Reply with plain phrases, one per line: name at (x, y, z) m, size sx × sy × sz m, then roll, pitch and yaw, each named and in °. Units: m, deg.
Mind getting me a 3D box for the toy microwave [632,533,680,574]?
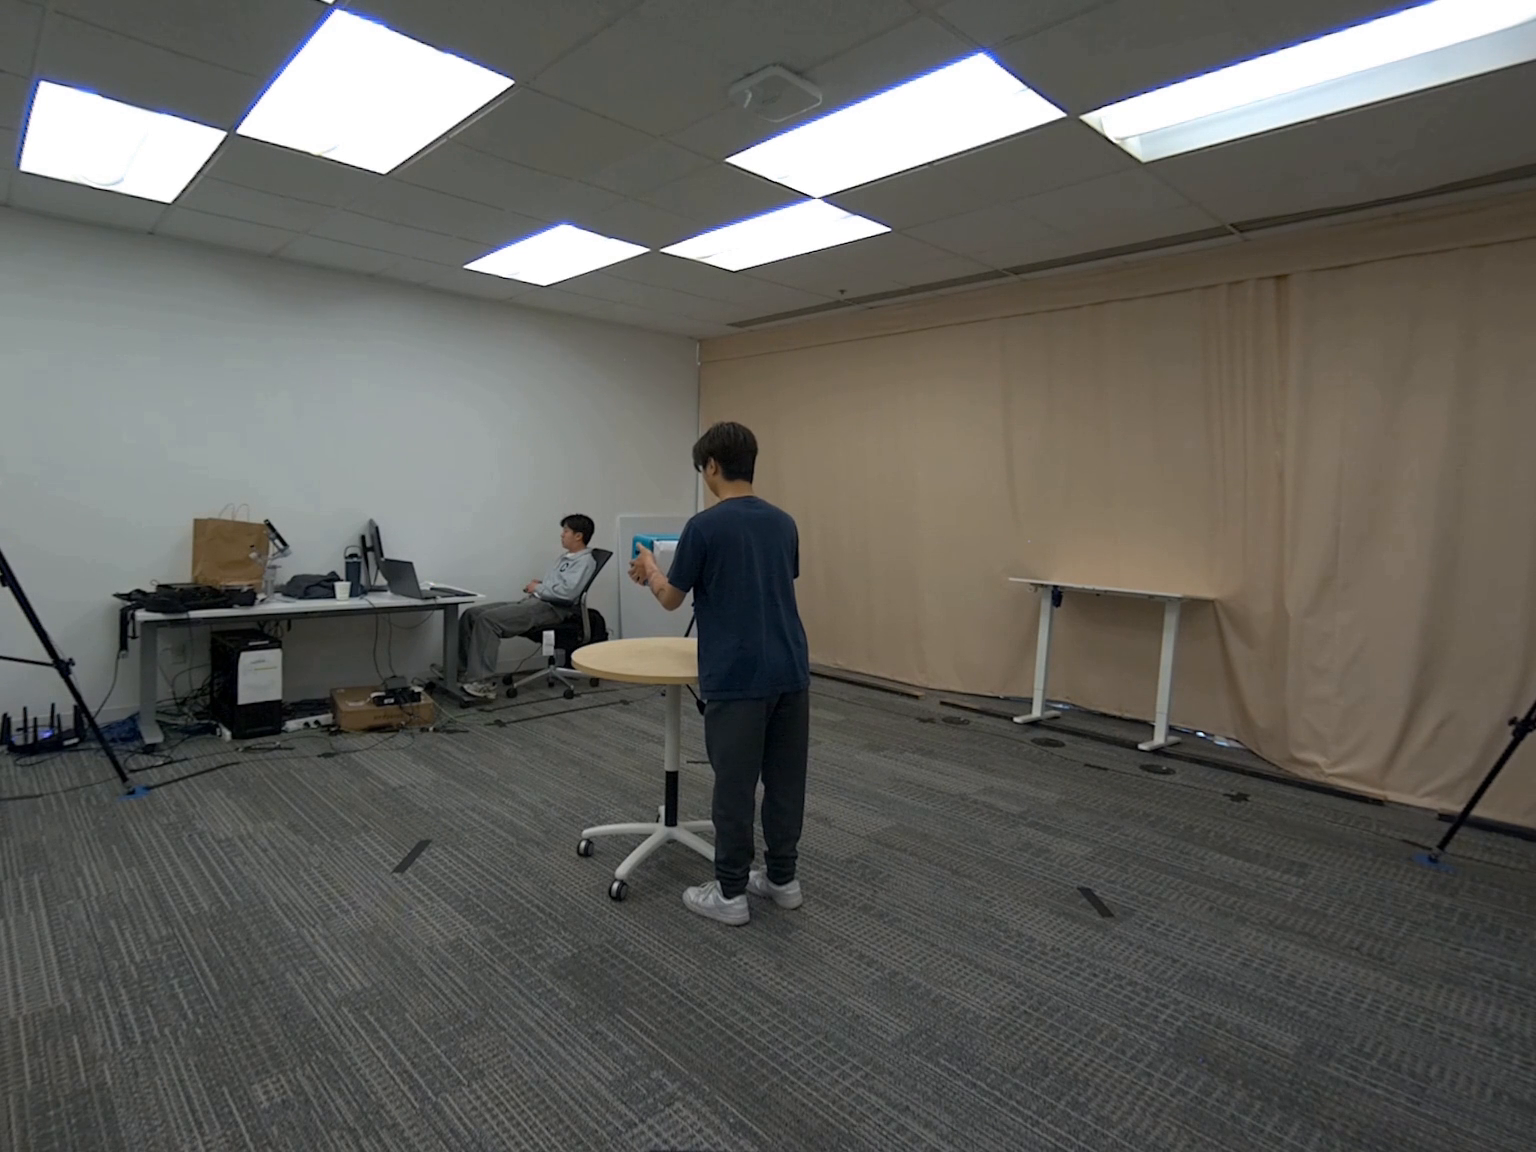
toy microwave at (-0.366, -0.057, 3.164) m, size 0.280 × 0.183 × 0.156 m, roll -2°, pitch 8°, yaw -39°
